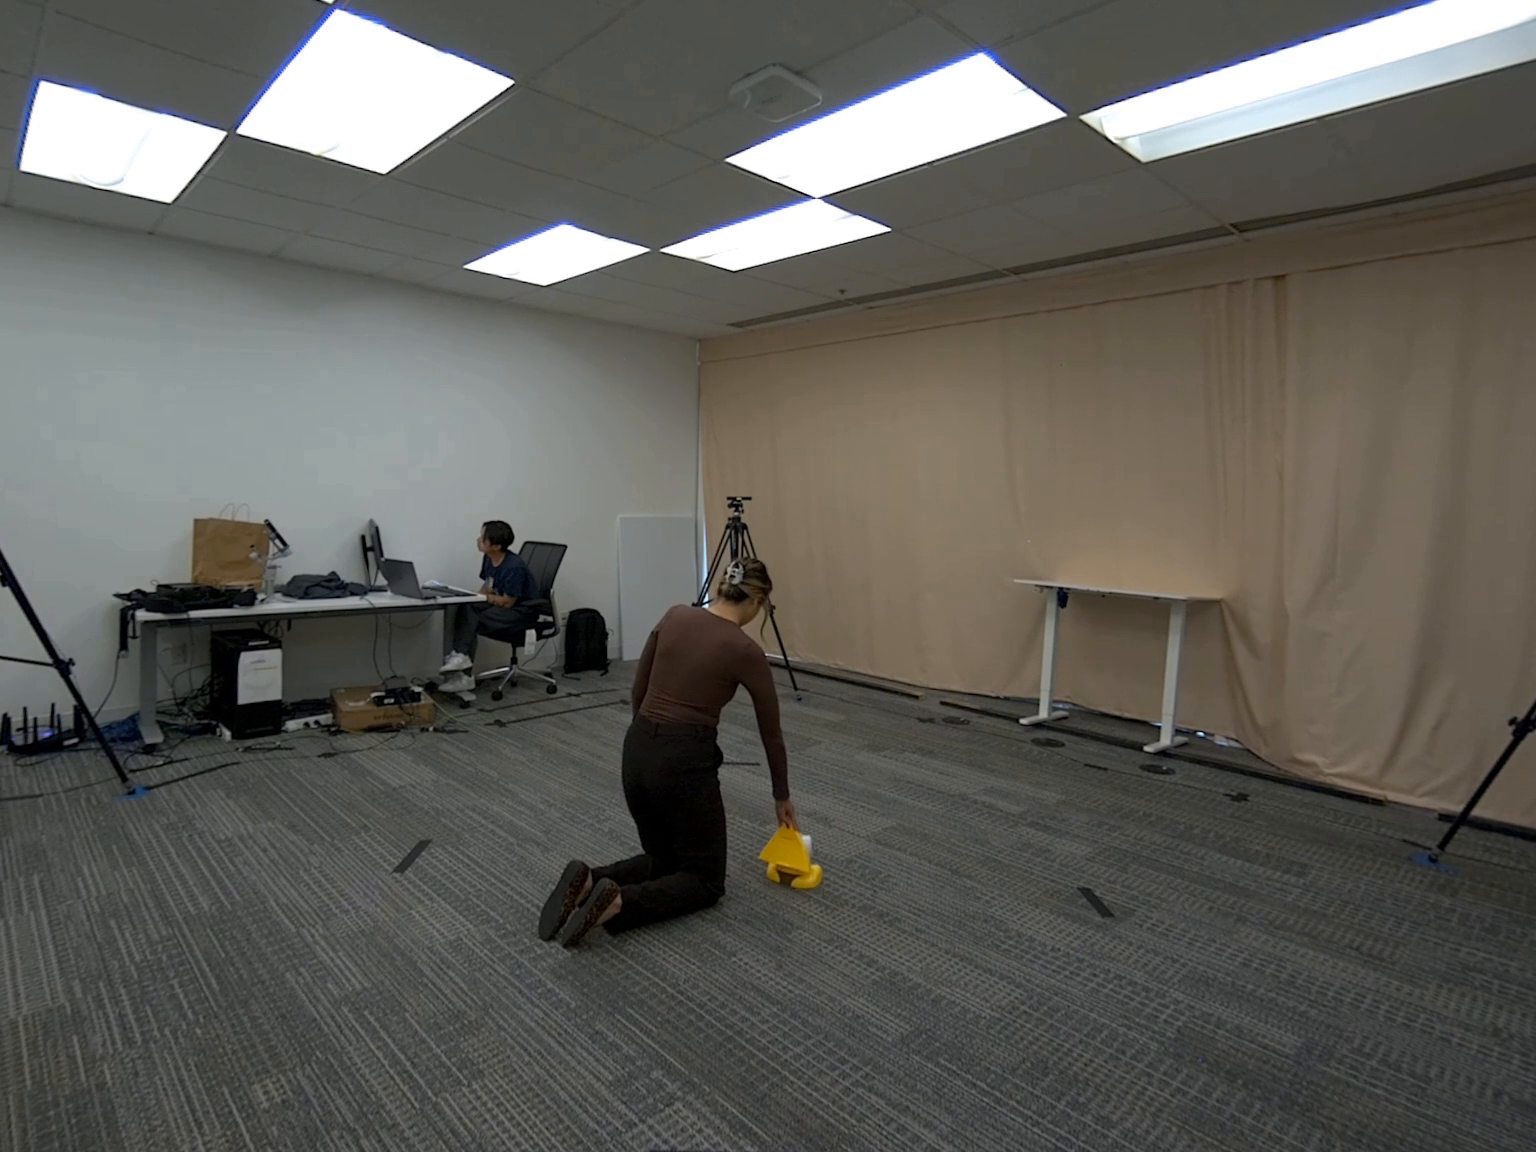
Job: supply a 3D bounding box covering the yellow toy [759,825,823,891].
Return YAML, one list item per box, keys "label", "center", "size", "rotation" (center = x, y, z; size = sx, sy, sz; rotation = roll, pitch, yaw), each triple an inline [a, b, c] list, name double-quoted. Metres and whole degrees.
- label: "yellow toy"
  center: [0.091, 1.000, 3.094]
  size: [0.209, 0.230, 0.189]
  rotation: [4, 5, 30]
